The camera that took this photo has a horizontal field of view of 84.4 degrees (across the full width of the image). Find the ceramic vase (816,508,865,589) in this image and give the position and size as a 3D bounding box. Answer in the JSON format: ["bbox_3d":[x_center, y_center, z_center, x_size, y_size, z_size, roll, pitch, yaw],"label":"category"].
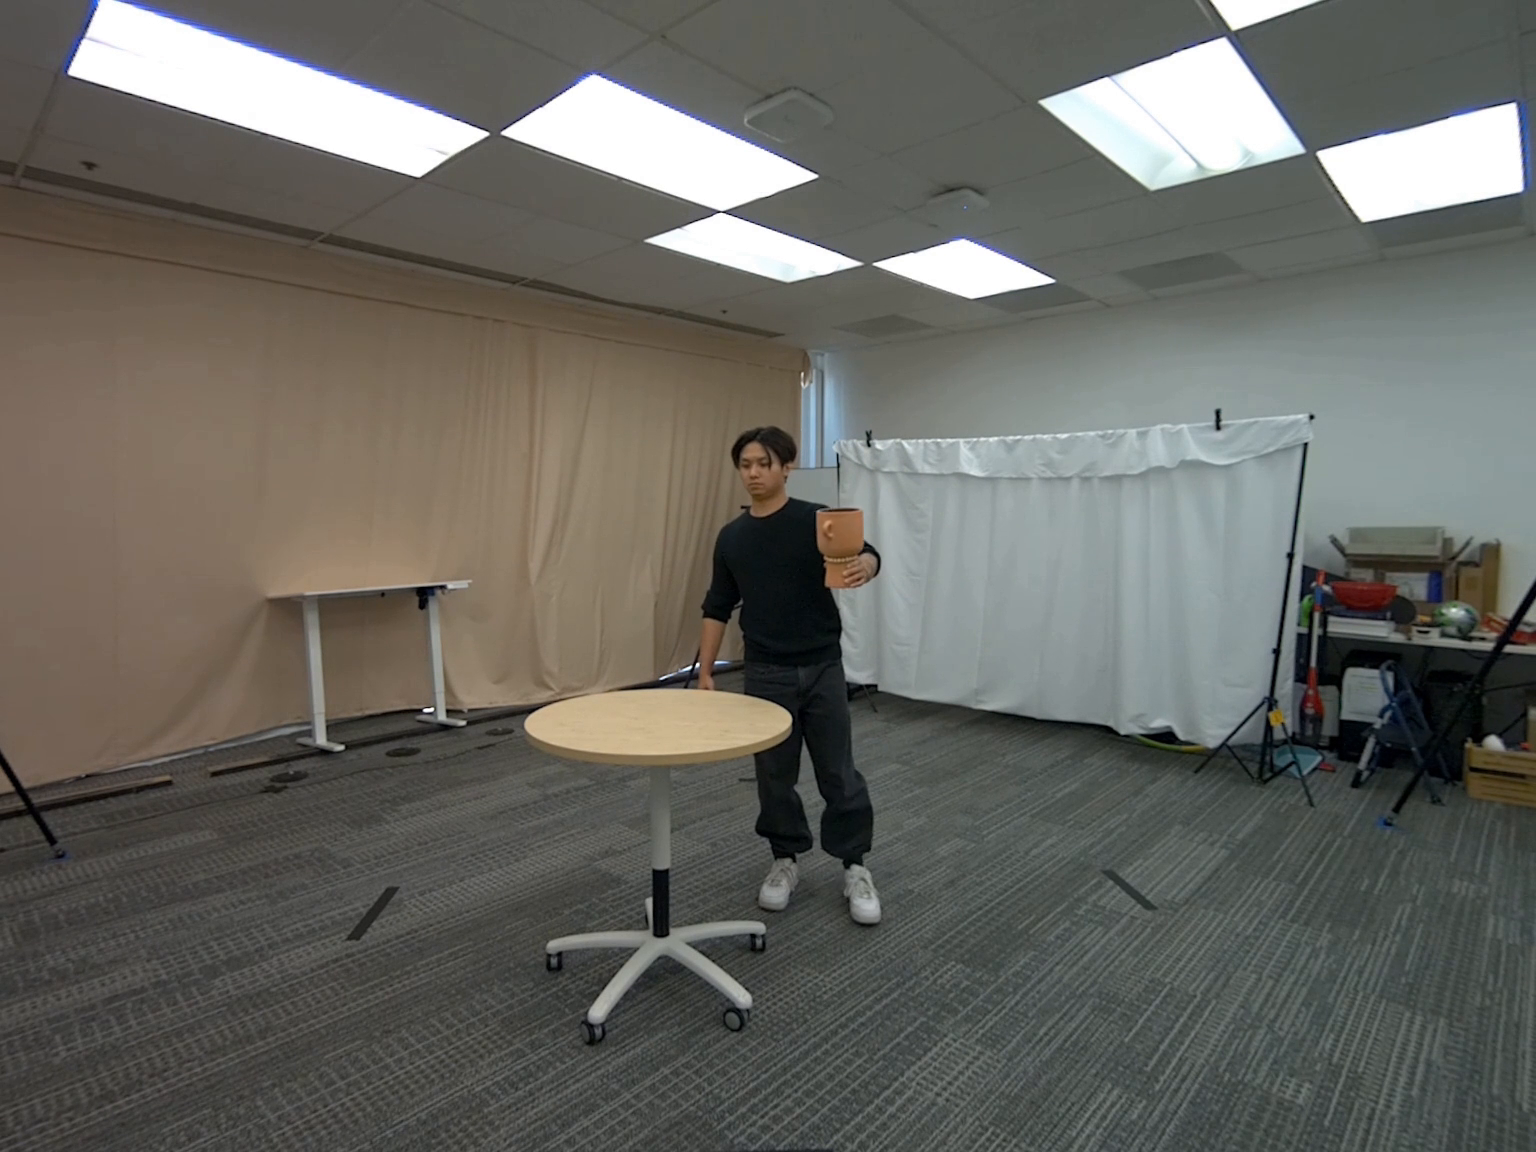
[{"bbox_3d":[0.211,-0.077,2.437,0.156,0.218,0.138,-5,10,-17],"label":"ceramic vase"}]
